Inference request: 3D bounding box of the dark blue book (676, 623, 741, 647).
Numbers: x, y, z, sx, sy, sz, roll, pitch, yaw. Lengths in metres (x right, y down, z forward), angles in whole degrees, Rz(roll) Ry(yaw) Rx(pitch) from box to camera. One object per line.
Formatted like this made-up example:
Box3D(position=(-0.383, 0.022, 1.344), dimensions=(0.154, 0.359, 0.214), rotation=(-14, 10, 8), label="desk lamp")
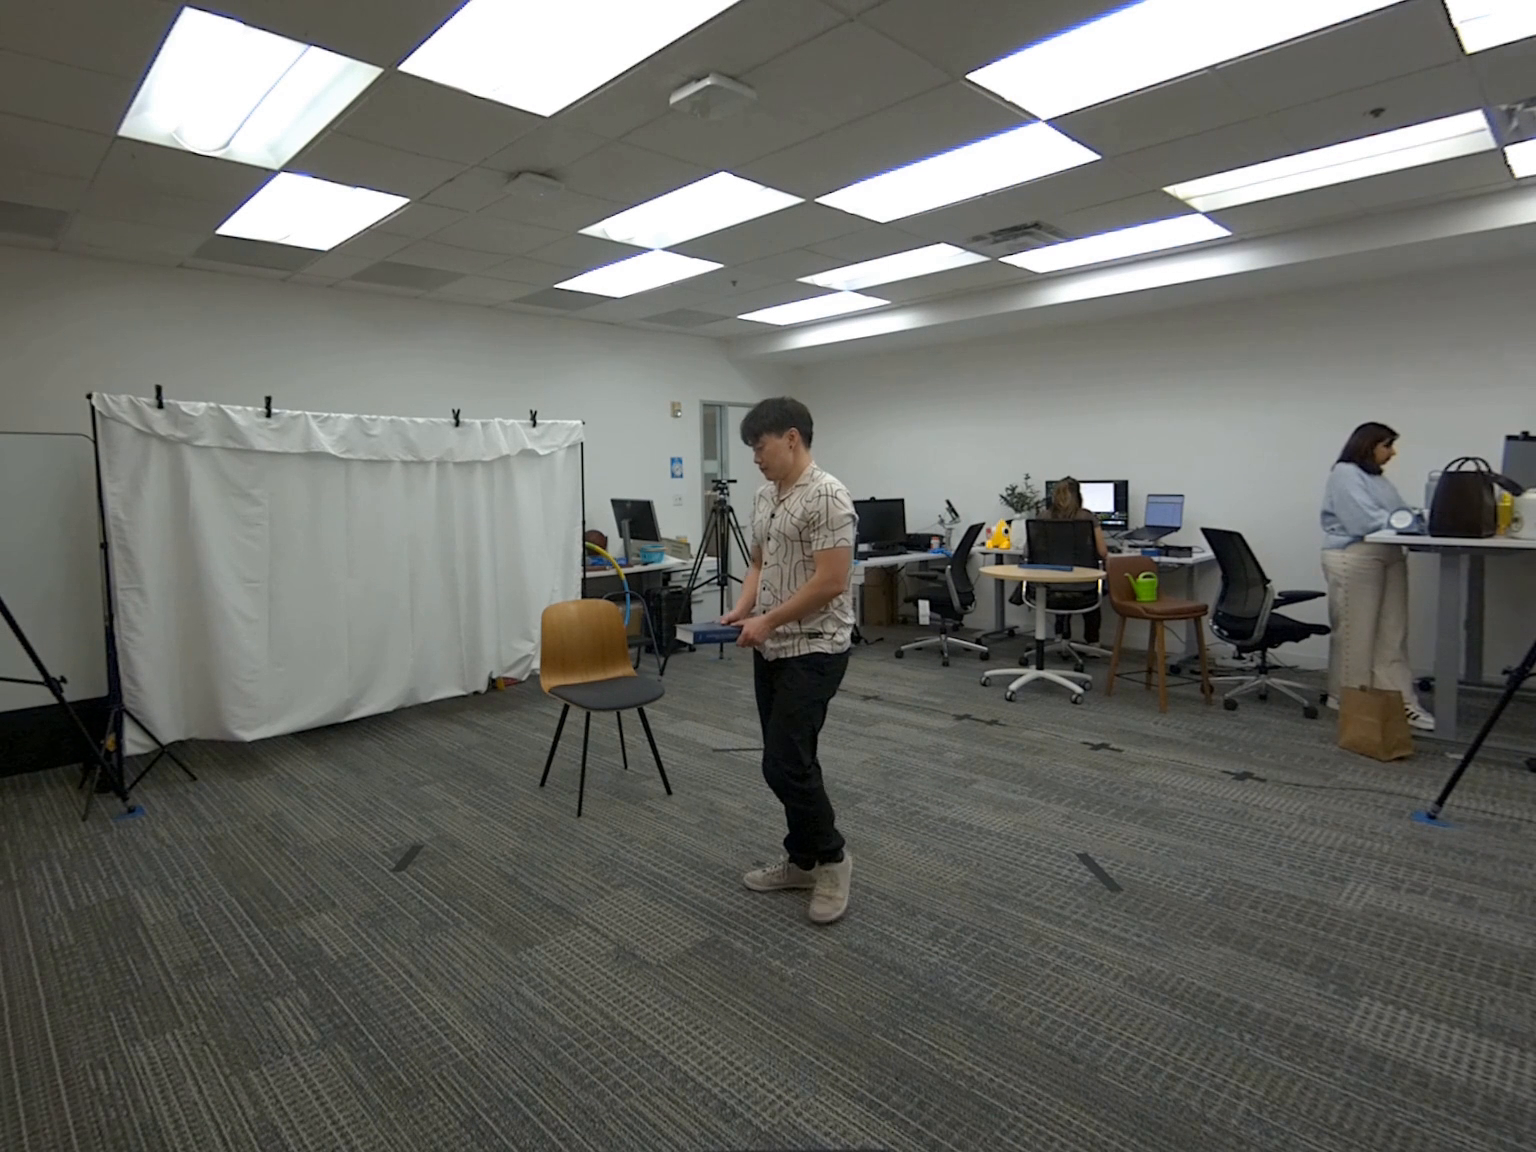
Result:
Box3D(position=(-0.157, 0.184, 2.718), dimensions=(0.241, 0.045, 0.166), rotation=(0, 3, -16), label="dark blue book")
